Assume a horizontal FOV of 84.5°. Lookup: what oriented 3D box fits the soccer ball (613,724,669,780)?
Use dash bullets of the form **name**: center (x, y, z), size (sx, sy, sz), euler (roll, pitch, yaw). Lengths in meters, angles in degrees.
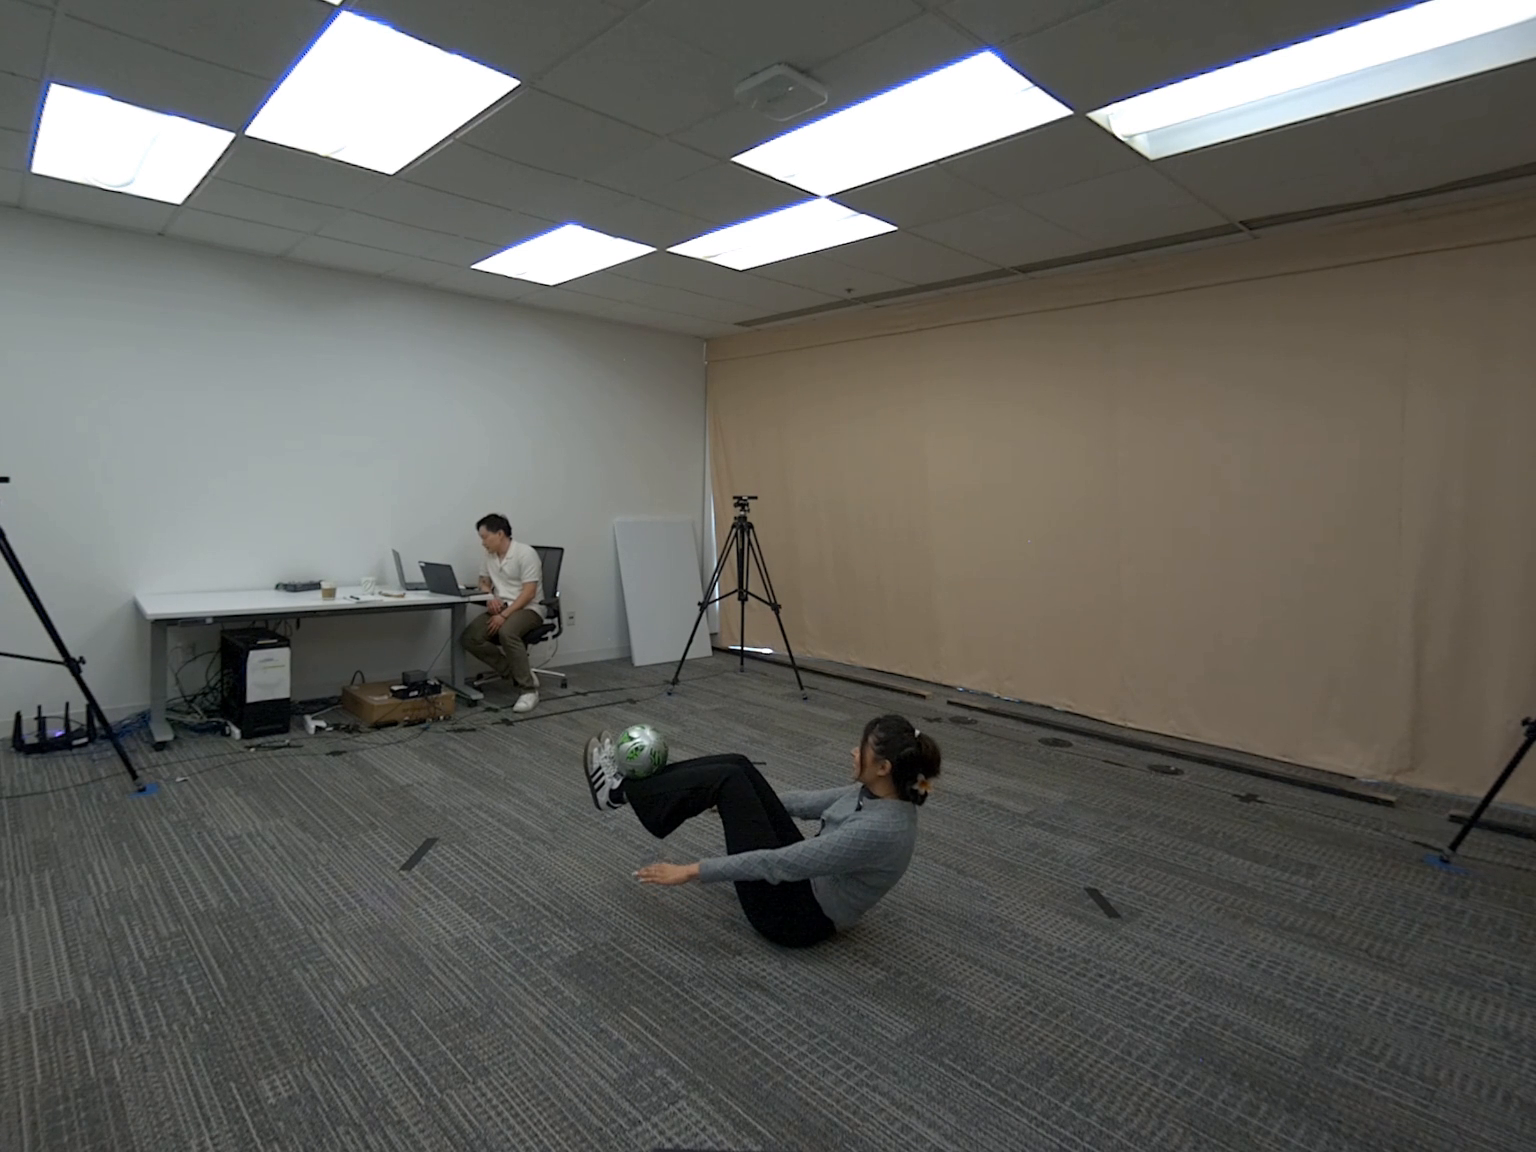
- **soccer ball**: center (-0.449, 0.608, 2.885), size (0.187, 0.187, 0.188), euler (1, 4, -1)
